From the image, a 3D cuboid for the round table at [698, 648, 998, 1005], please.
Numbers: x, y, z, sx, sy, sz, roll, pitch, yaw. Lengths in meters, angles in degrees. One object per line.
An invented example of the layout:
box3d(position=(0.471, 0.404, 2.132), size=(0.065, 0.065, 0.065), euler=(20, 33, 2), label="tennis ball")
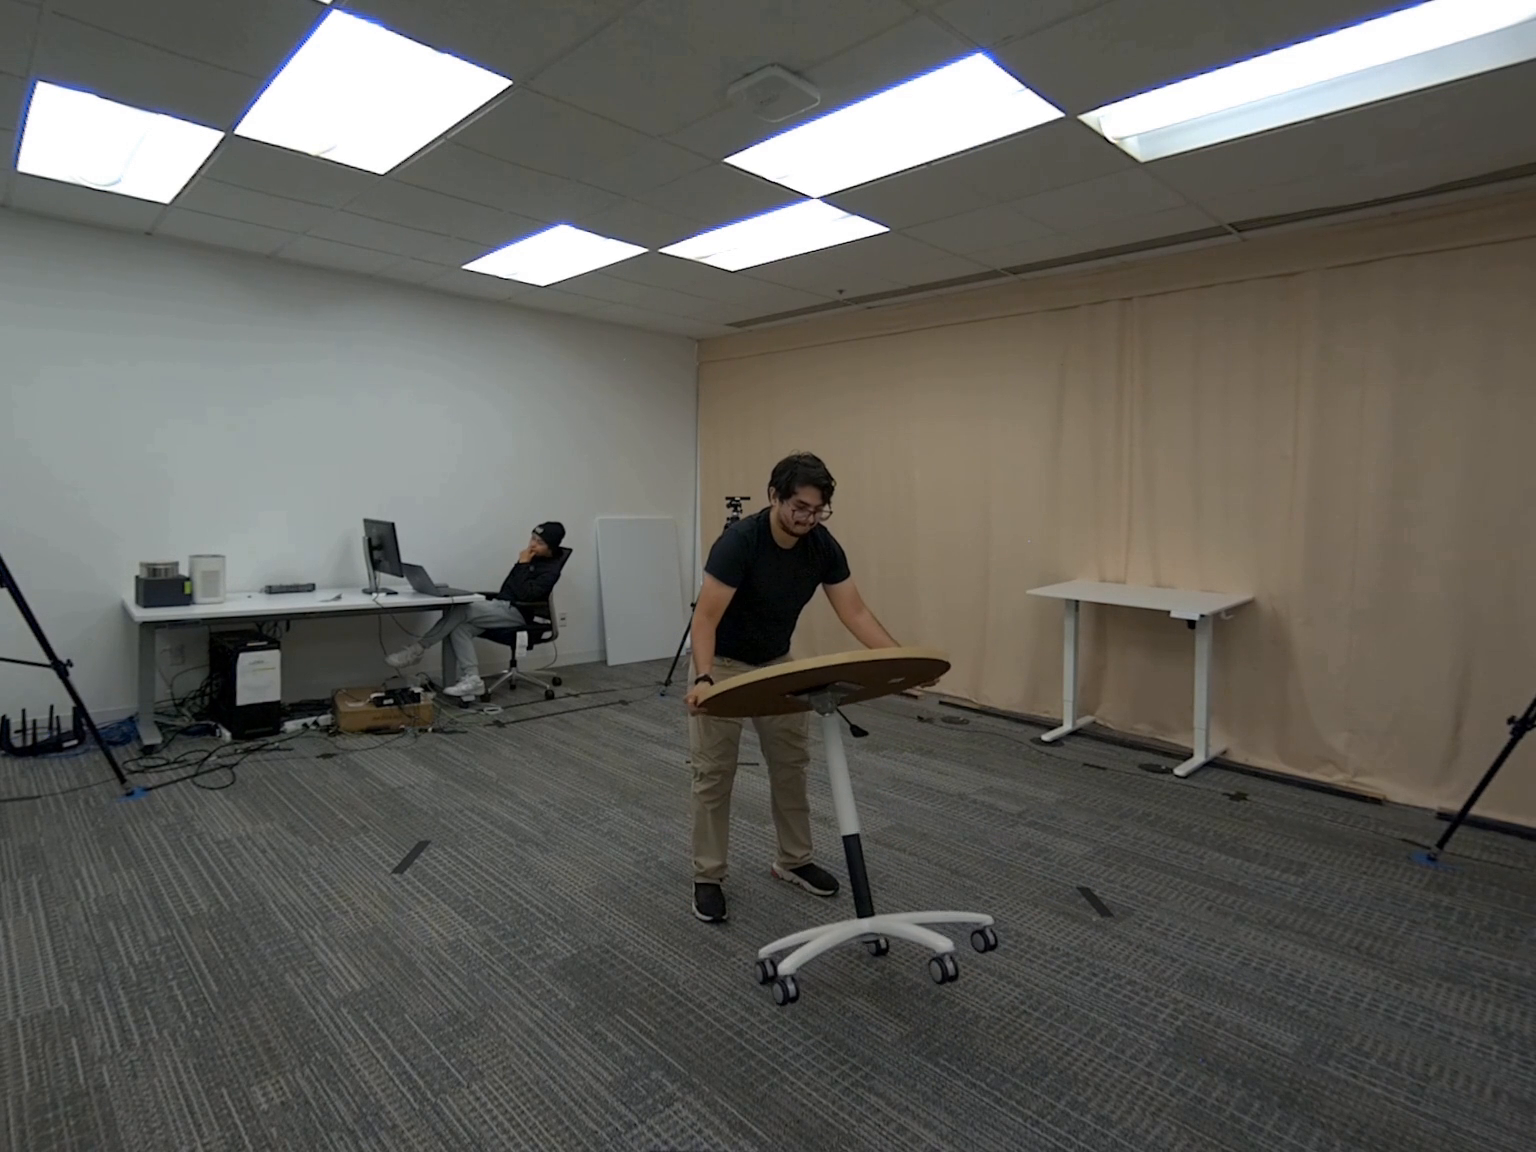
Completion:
box3d(position=(0.207, 0.700, 2.385), size=(0.783, 0.799, 0.775), euler=(-8, -18, -4), label="round table")
